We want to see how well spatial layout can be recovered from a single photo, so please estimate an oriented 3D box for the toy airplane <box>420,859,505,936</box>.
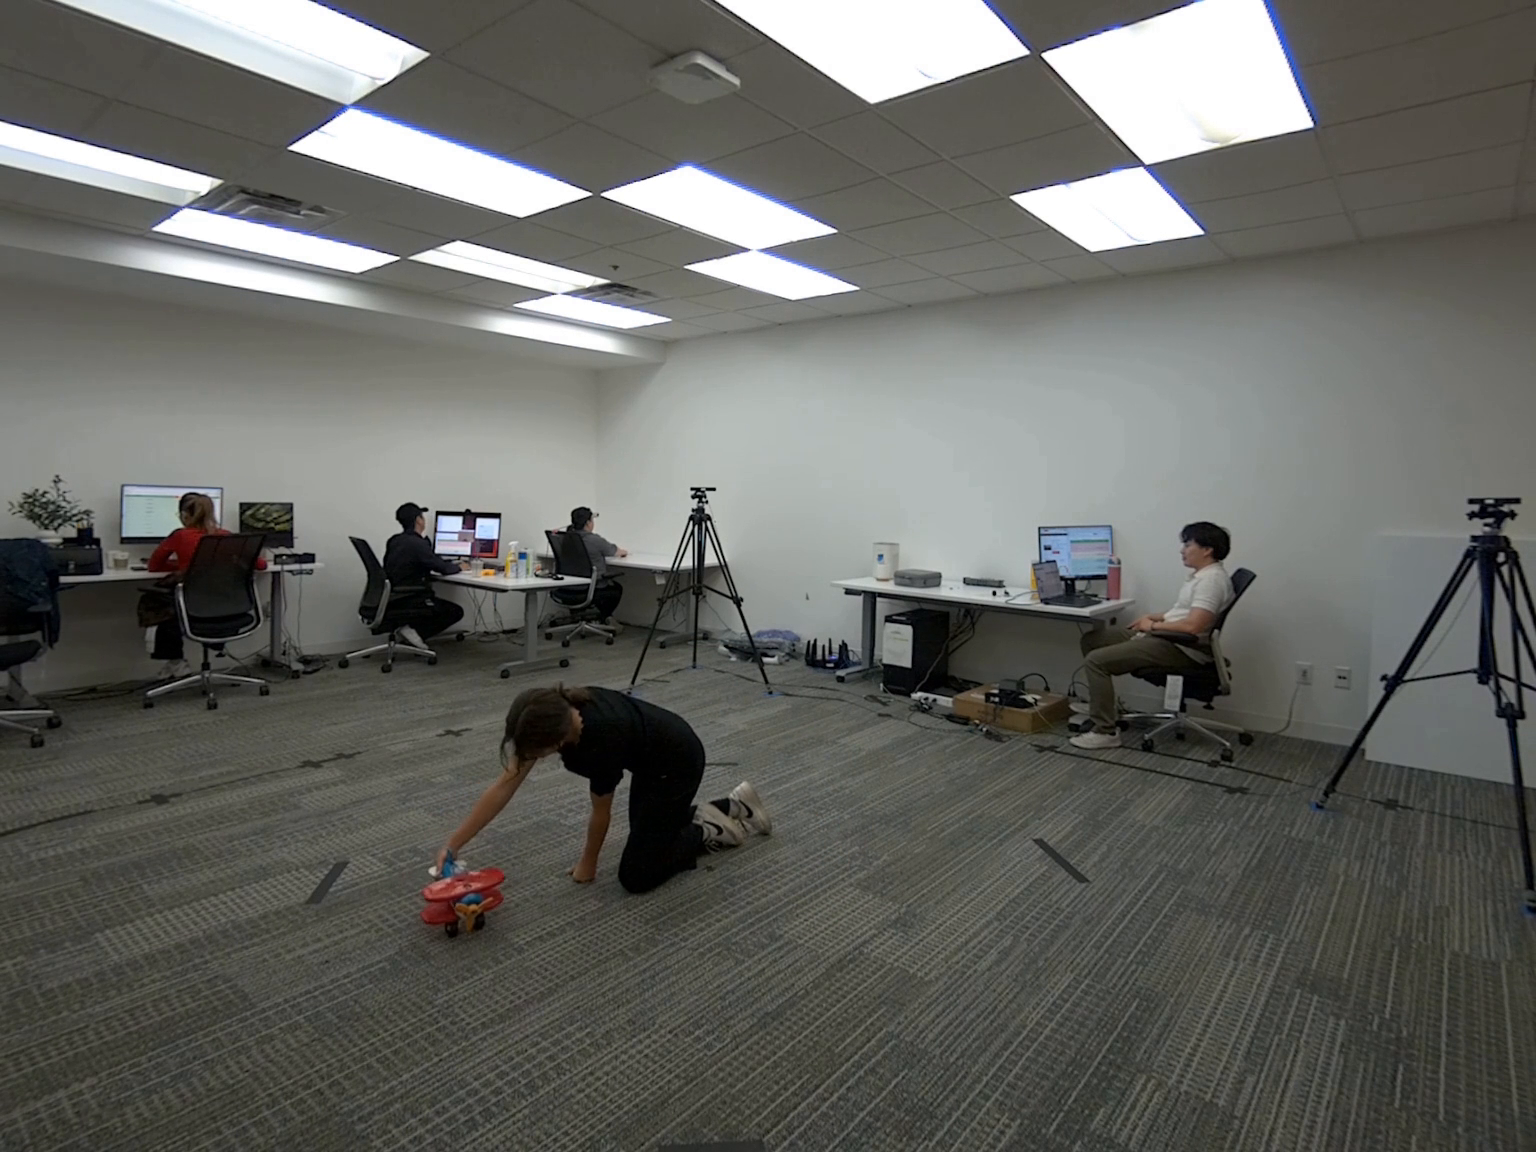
[{"bbox_3d":[-0.996,0.994,2.666,0.266,0.154,0.248,28,27,17],"label":"toy airplane"}]
